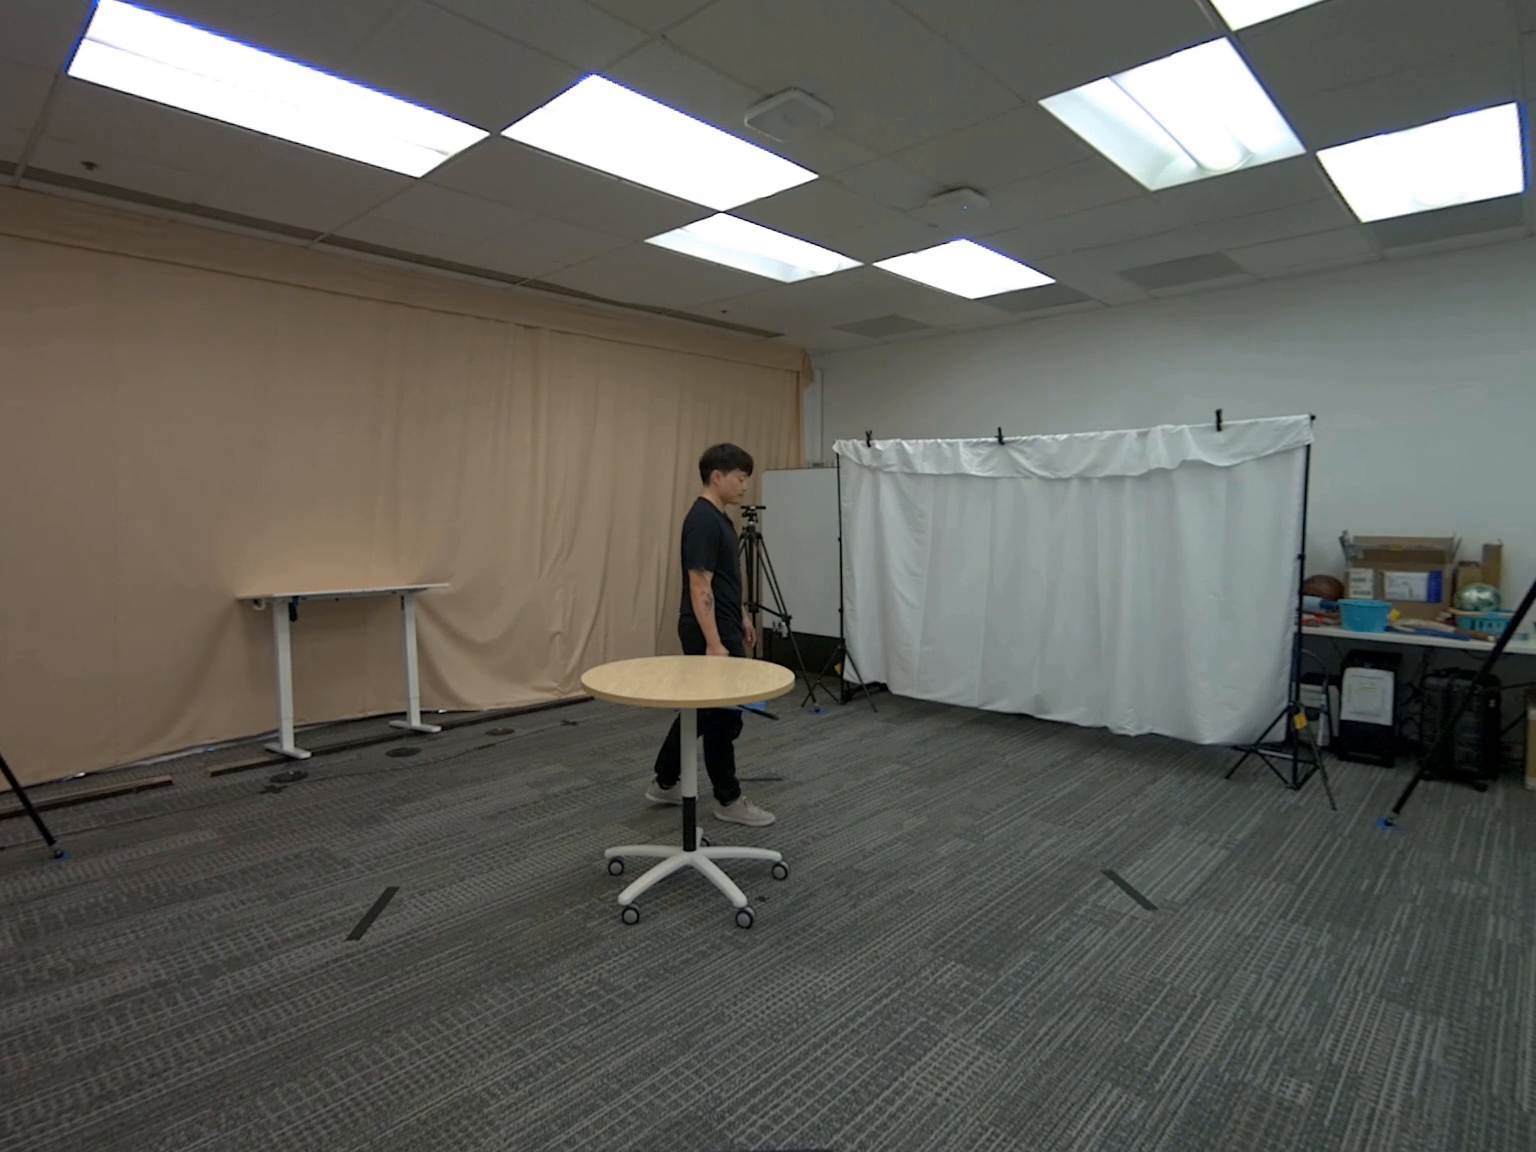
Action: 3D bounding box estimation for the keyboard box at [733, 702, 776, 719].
[{"bbox_3d":[-0.230,0.456,3.540,0.438,0.176,0.059,5,1,2],"label":"keyboard box"}]
